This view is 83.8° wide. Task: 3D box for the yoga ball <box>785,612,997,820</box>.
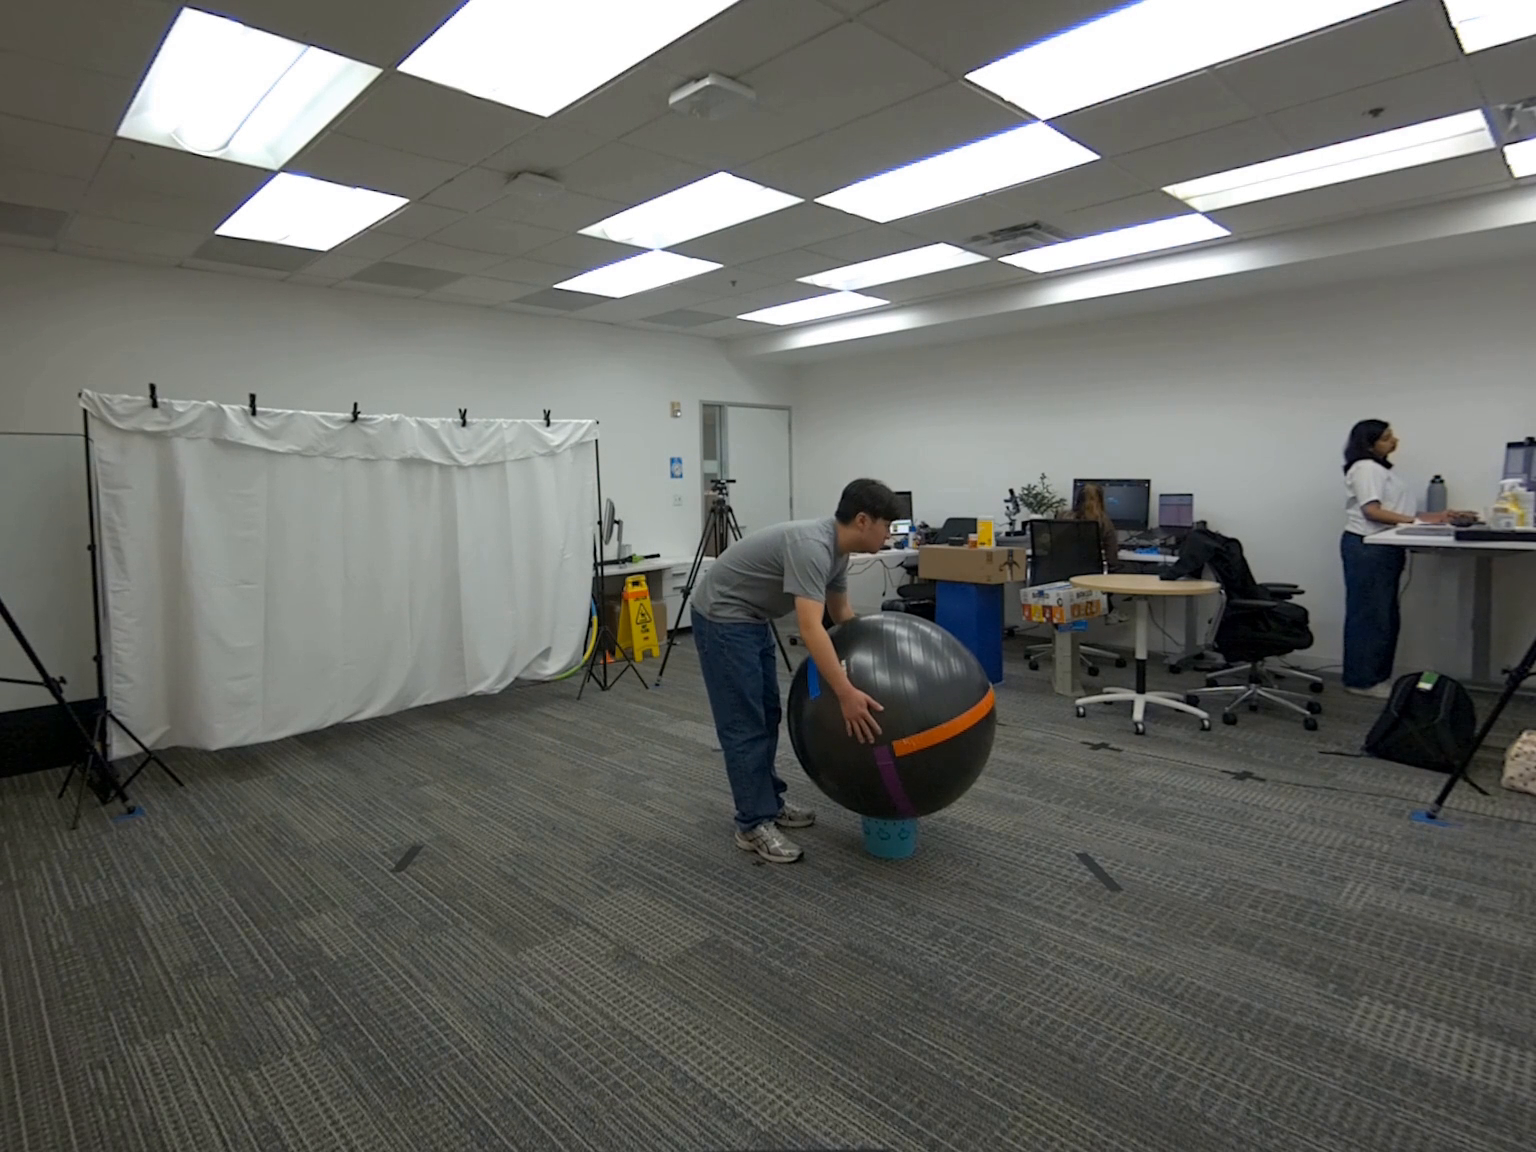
[{"bbox_3d":[0.443,0.505,3.192,0.757,0.755,0.762,-1,5,-2],"label":"yoga ball"}]
